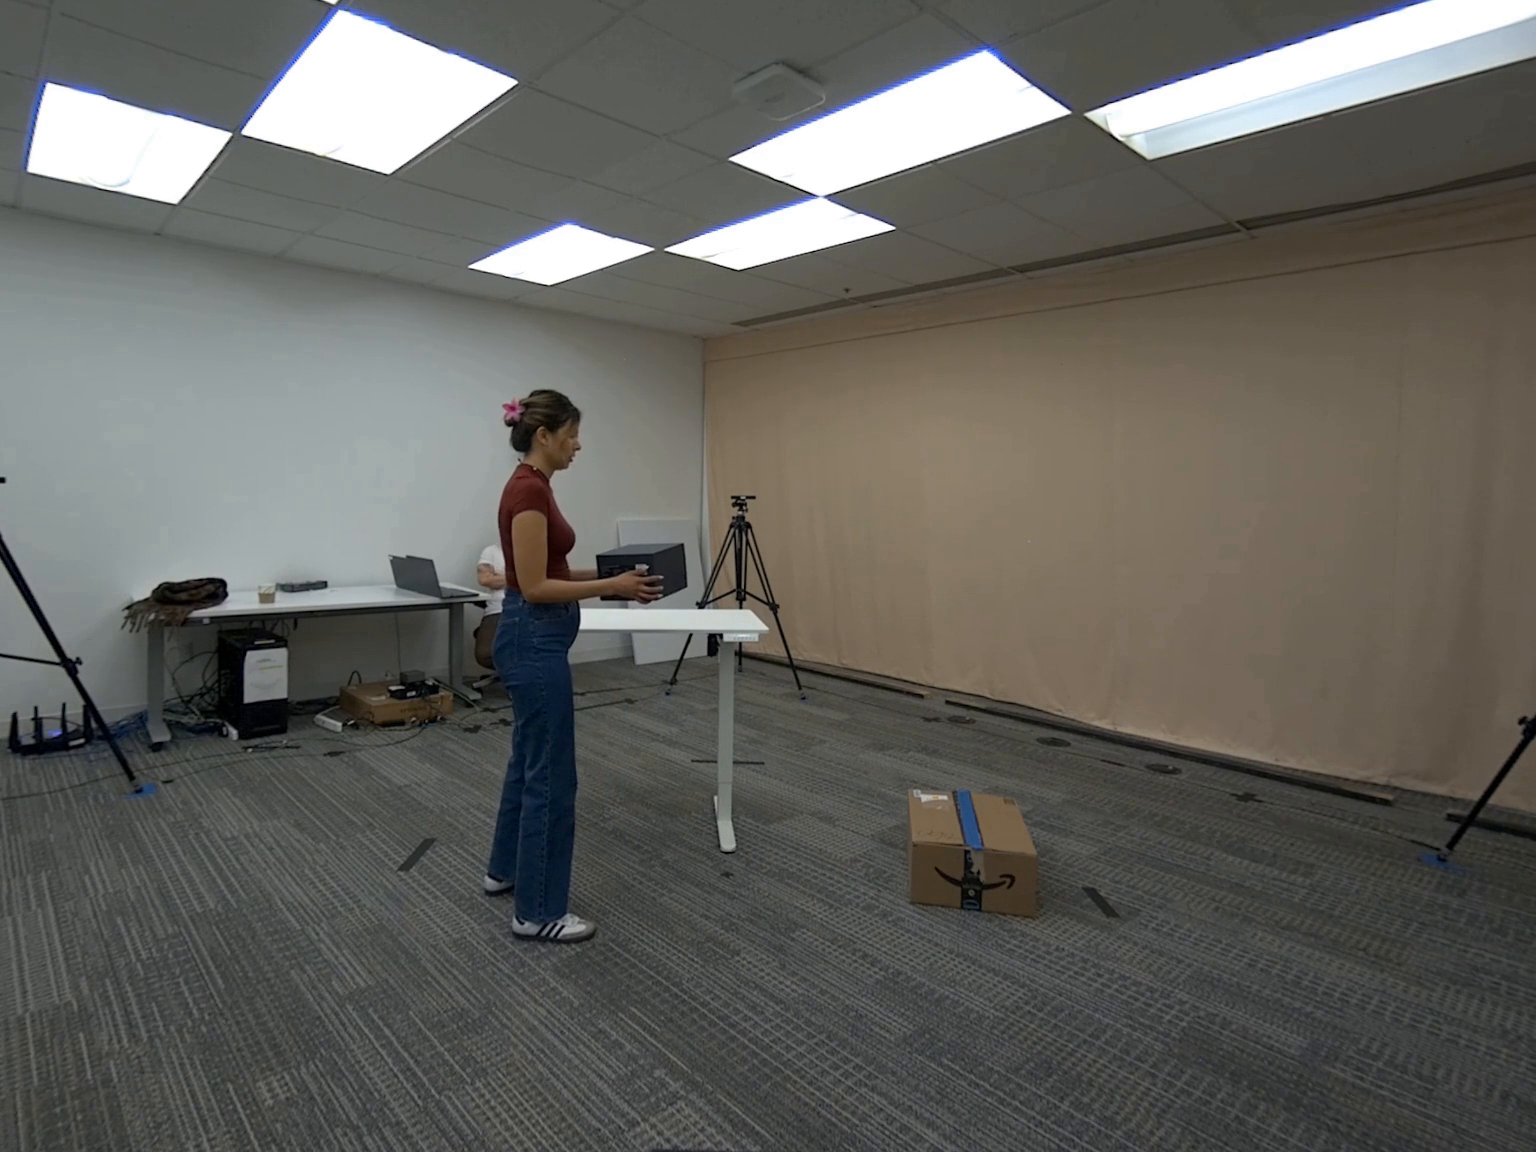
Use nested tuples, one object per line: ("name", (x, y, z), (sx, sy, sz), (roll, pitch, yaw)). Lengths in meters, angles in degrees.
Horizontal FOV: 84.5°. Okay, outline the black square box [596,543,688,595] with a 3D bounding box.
("black square box", (-0.427, -0.020, 2.830), (0.221, 0.155, 0.225), (-1, 10, 24))
